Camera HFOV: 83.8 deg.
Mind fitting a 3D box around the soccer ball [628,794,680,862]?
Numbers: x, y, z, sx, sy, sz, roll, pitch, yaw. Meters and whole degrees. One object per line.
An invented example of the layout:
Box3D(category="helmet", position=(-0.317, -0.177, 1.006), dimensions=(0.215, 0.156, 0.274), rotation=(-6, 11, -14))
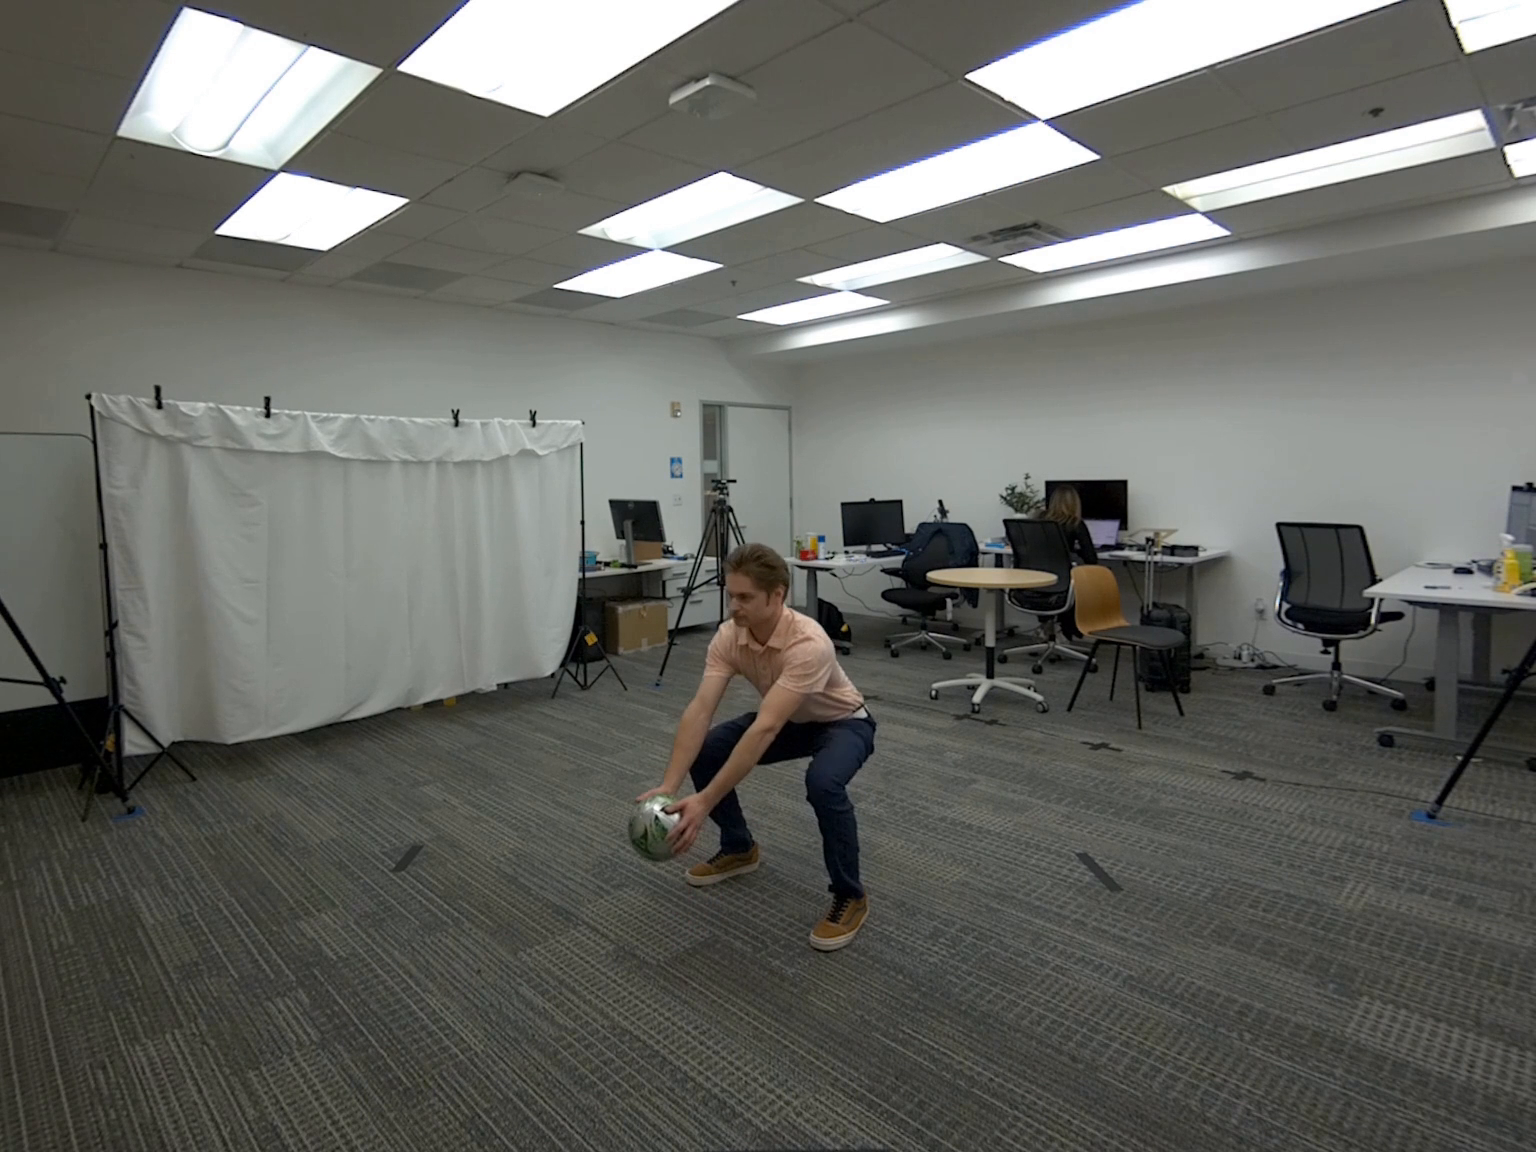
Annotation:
Box3D(category="soccer ball", position=(-0.308, 0.728, 2.462), dimensions=(0.187, 0.187, 0.188), rotation=(-1, 5, -2))
